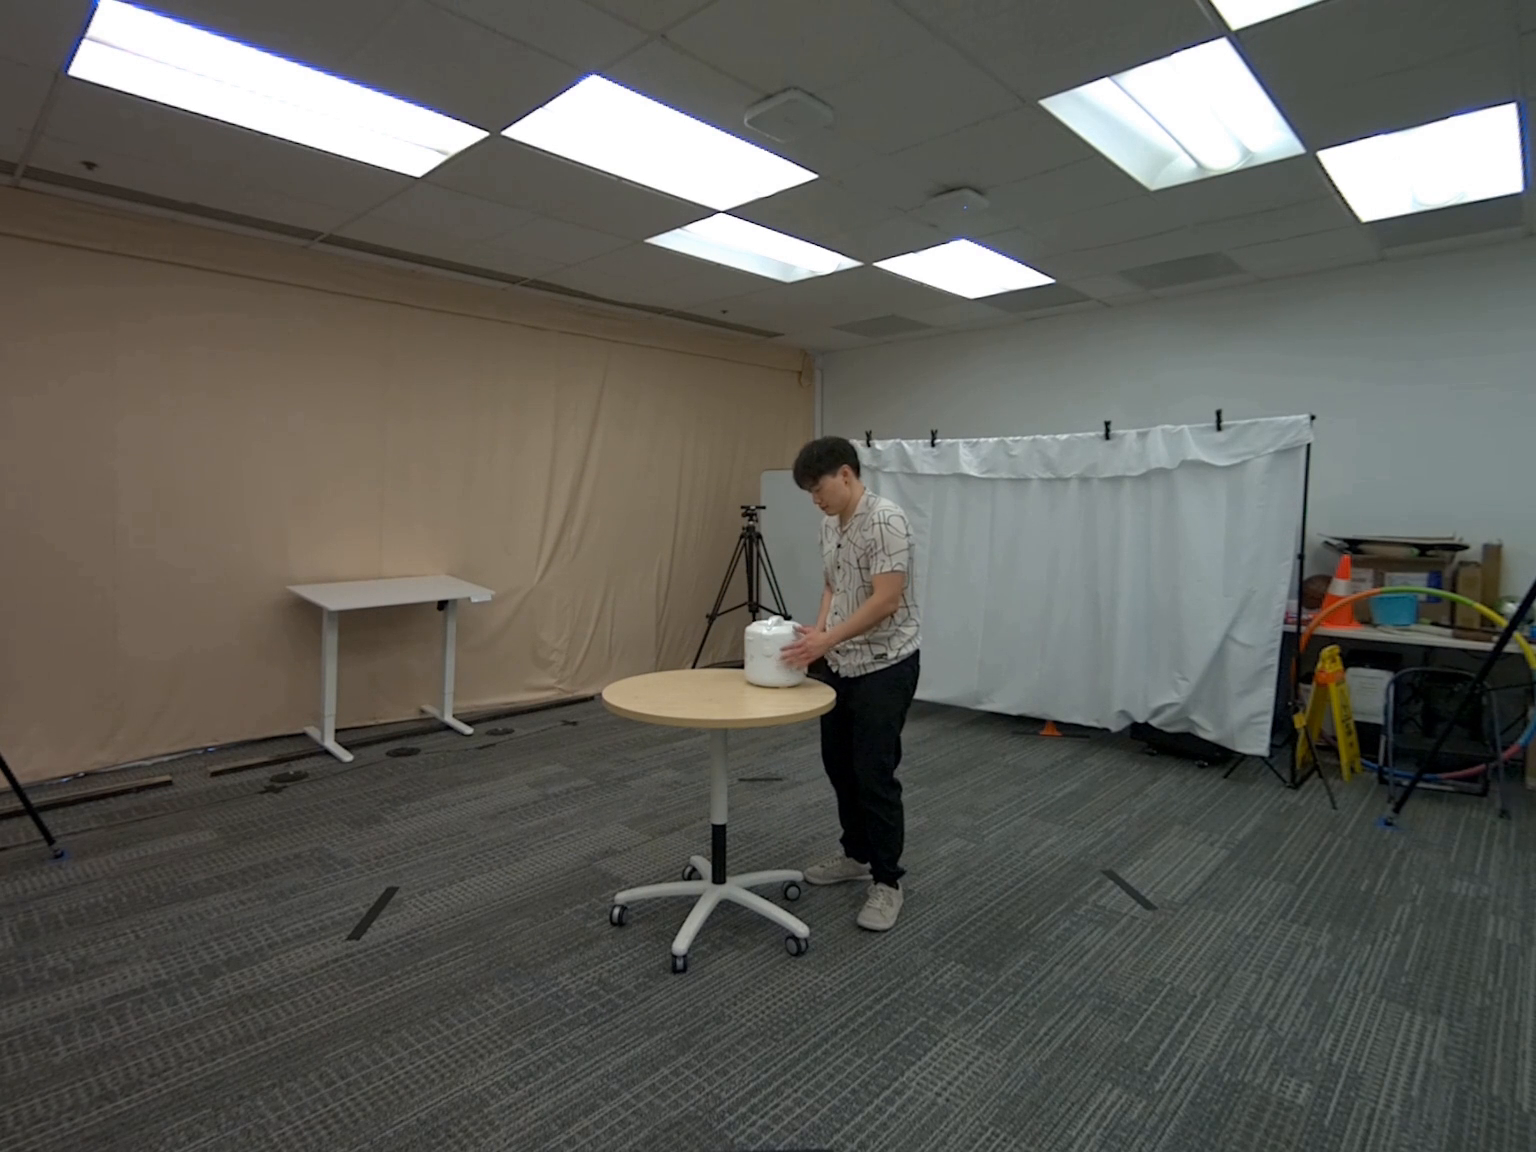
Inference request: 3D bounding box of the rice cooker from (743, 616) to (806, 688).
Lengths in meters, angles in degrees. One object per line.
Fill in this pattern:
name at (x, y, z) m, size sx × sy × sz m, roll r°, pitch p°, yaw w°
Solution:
rice cooker at (0.030, 0.253, 2.897) m, size 0.221 × 0.232 × 0.217 m, roll 0°, pitch 3°, yaw 17°
